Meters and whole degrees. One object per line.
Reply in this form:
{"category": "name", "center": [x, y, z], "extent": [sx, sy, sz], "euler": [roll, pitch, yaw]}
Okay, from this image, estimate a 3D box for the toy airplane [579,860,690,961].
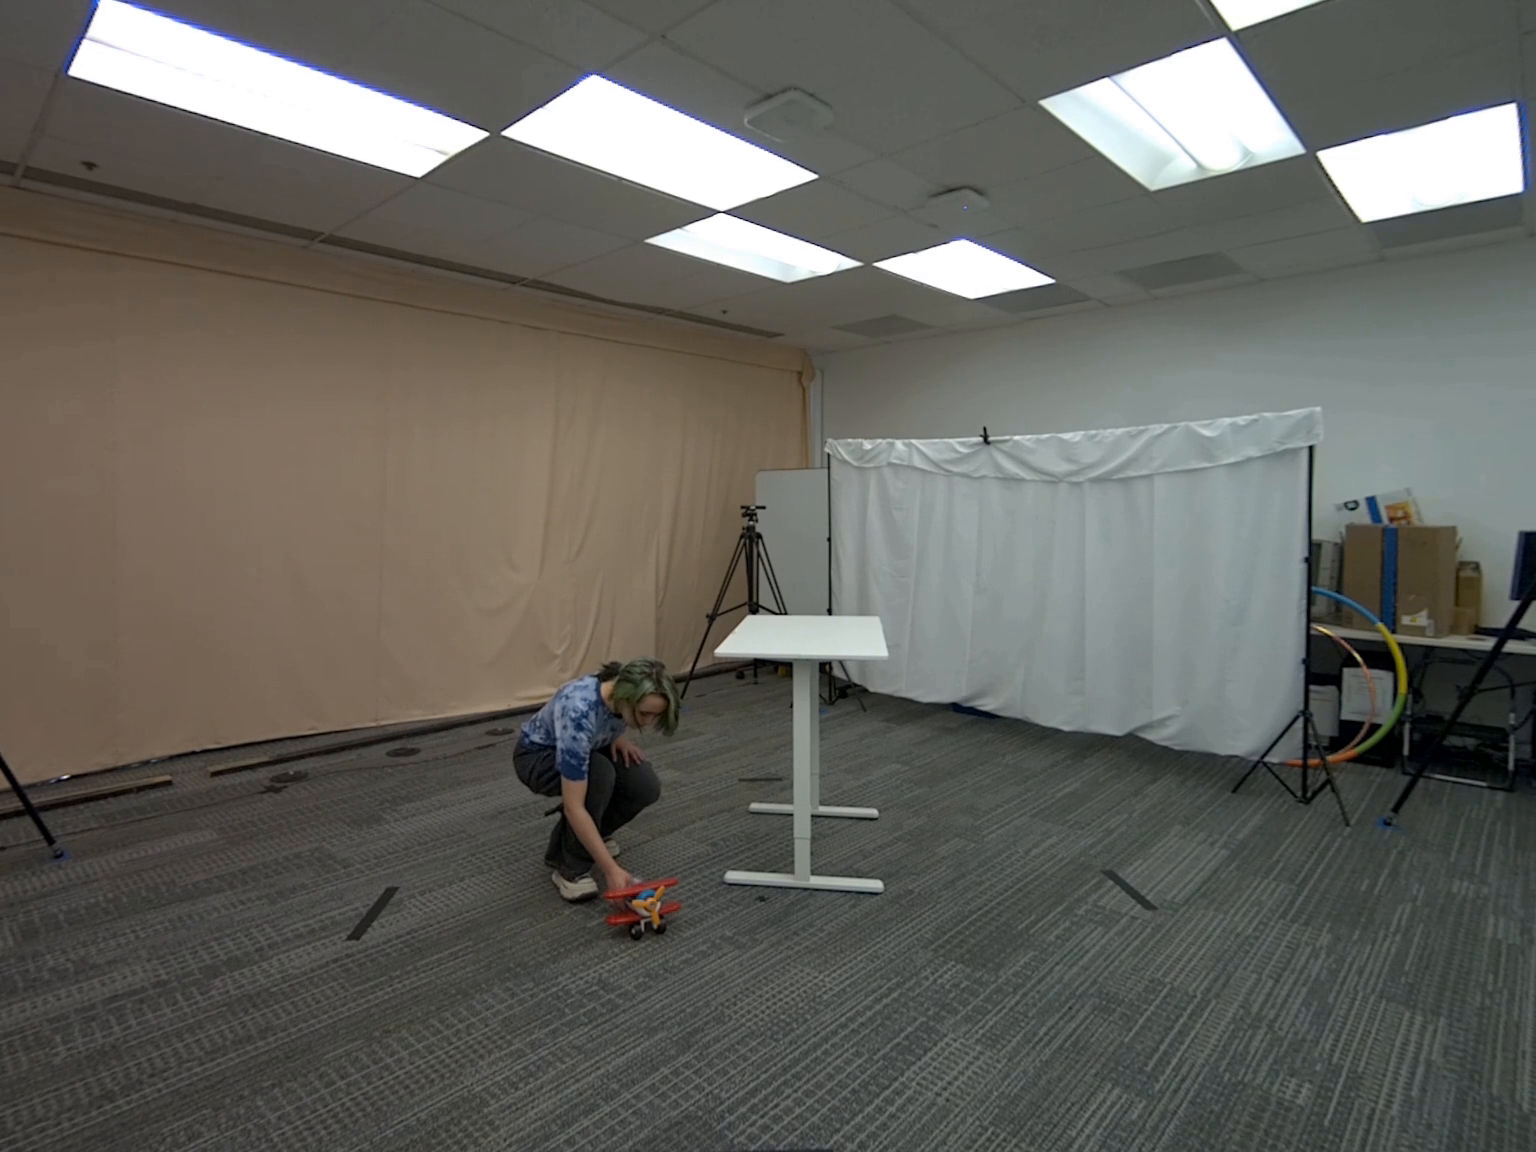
{"category": "toy airplane", "center": [-0.439, 1.090, 2.789], "extent": [0.267, 0.156, 0.244], "euler": [3, 6, 34]}
